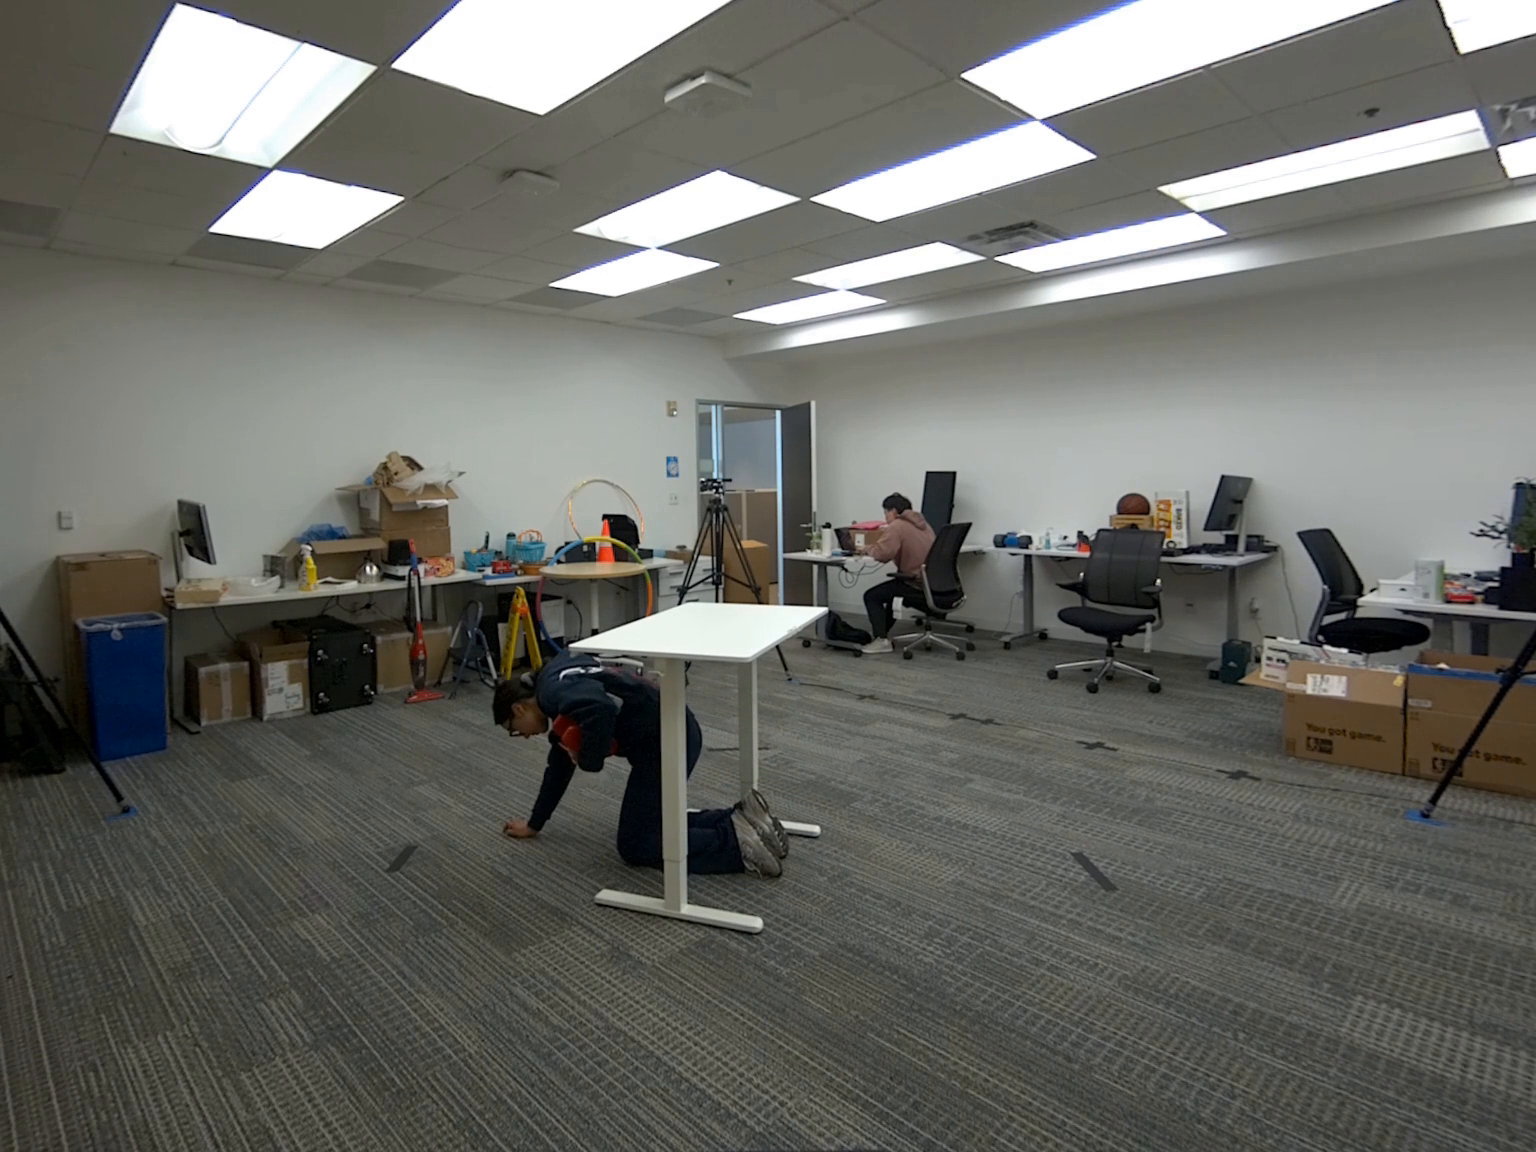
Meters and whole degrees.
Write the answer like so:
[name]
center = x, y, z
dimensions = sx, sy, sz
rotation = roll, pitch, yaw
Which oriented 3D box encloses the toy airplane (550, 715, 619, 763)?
[toy airplane]
center = -0.652, 0.528, 3.043
dimensions = 0.244, 0.256, 0.162
rotation = 1, 38, -33
